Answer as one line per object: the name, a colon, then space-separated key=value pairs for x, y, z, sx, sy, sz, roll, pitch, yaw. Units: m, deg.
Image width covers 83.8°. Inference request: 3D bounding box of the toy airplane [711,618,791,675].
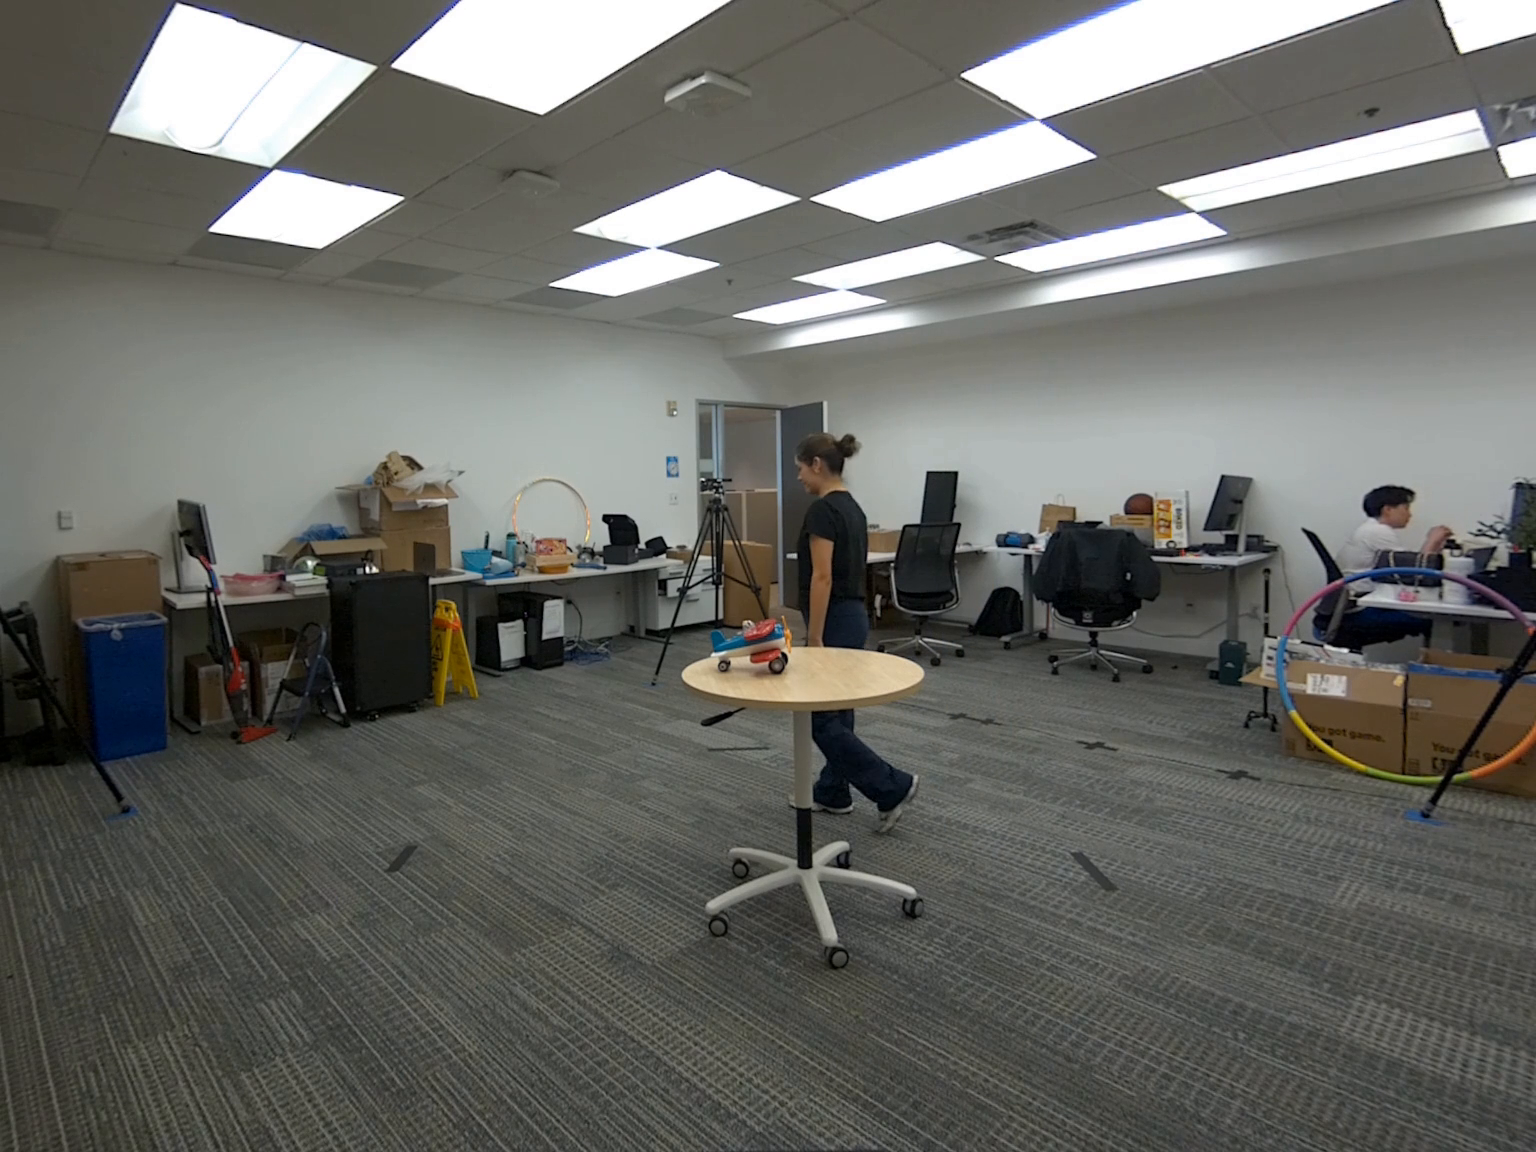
toy airplane: x=-0.048 y=0.228 z=2.734 sx=0.254 sy=0.156 sz=0.257 roll=-3 pitch=4 yaw=-22
